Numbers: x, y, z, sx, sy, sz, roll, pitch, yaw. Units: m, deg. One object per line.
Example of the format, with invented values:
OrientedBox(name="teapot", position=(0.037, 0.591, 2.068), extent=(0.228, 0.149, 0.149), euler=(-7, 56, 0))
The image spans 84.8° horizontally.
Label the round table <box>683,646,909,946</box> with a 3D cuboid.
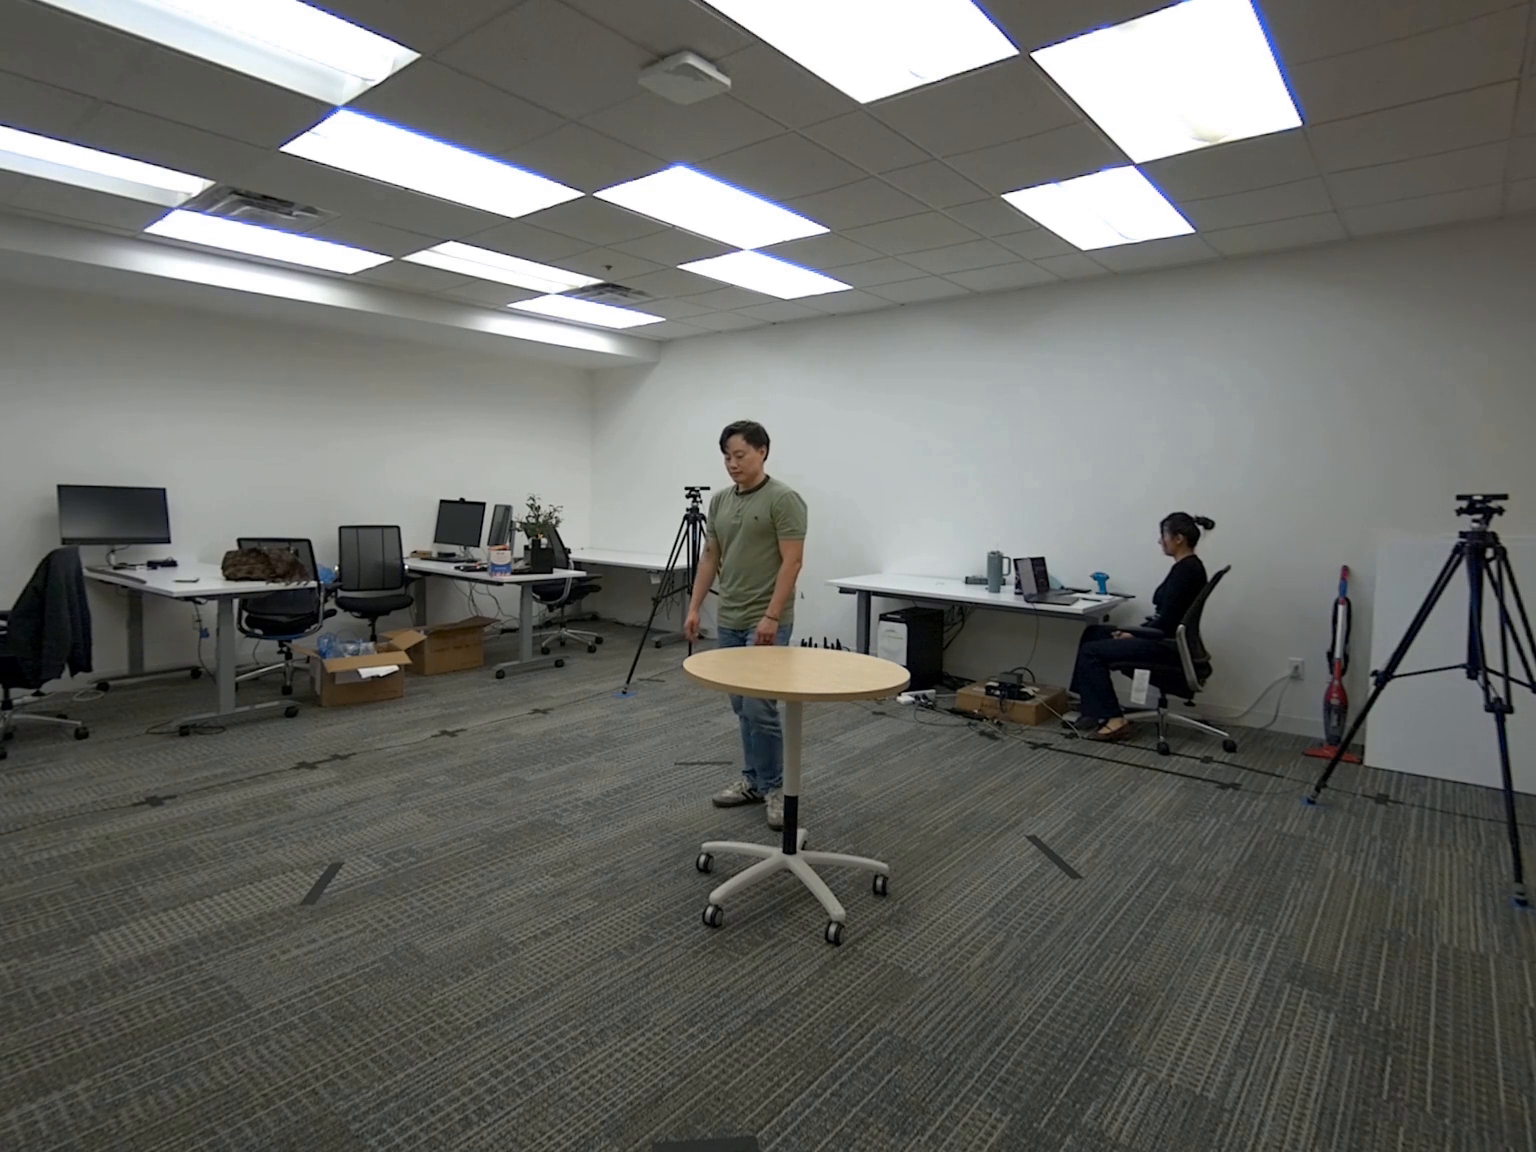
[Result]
OrientedBox(name="round table", position=(0.069, 0.700, 2.916), extent=(0.763, 0.792, 0.767), euler=(2, 4, -2))
